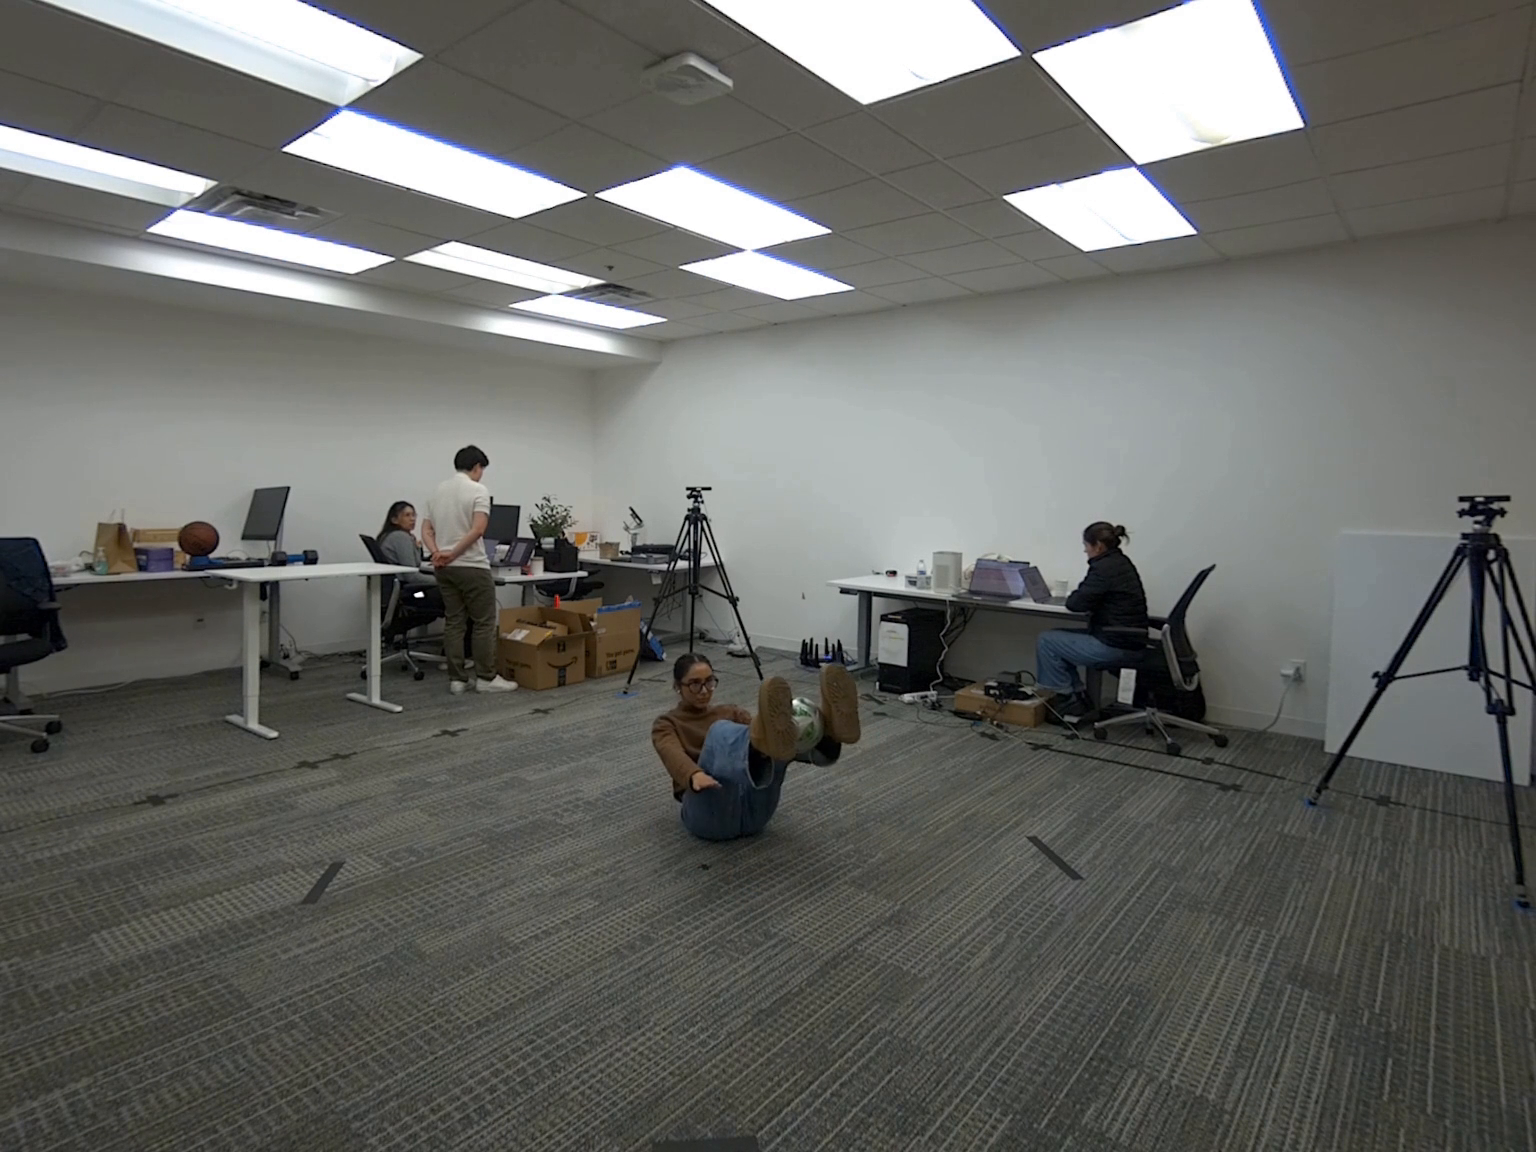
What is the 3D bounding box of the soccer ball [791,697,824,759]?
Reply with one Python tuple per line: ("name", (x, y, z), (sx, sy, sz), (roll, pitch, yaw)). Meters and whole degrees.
("soccer ball", (0.104, 0.523, 2.955), (0.187, 0.187, 0.188), (1, 4, -2))
